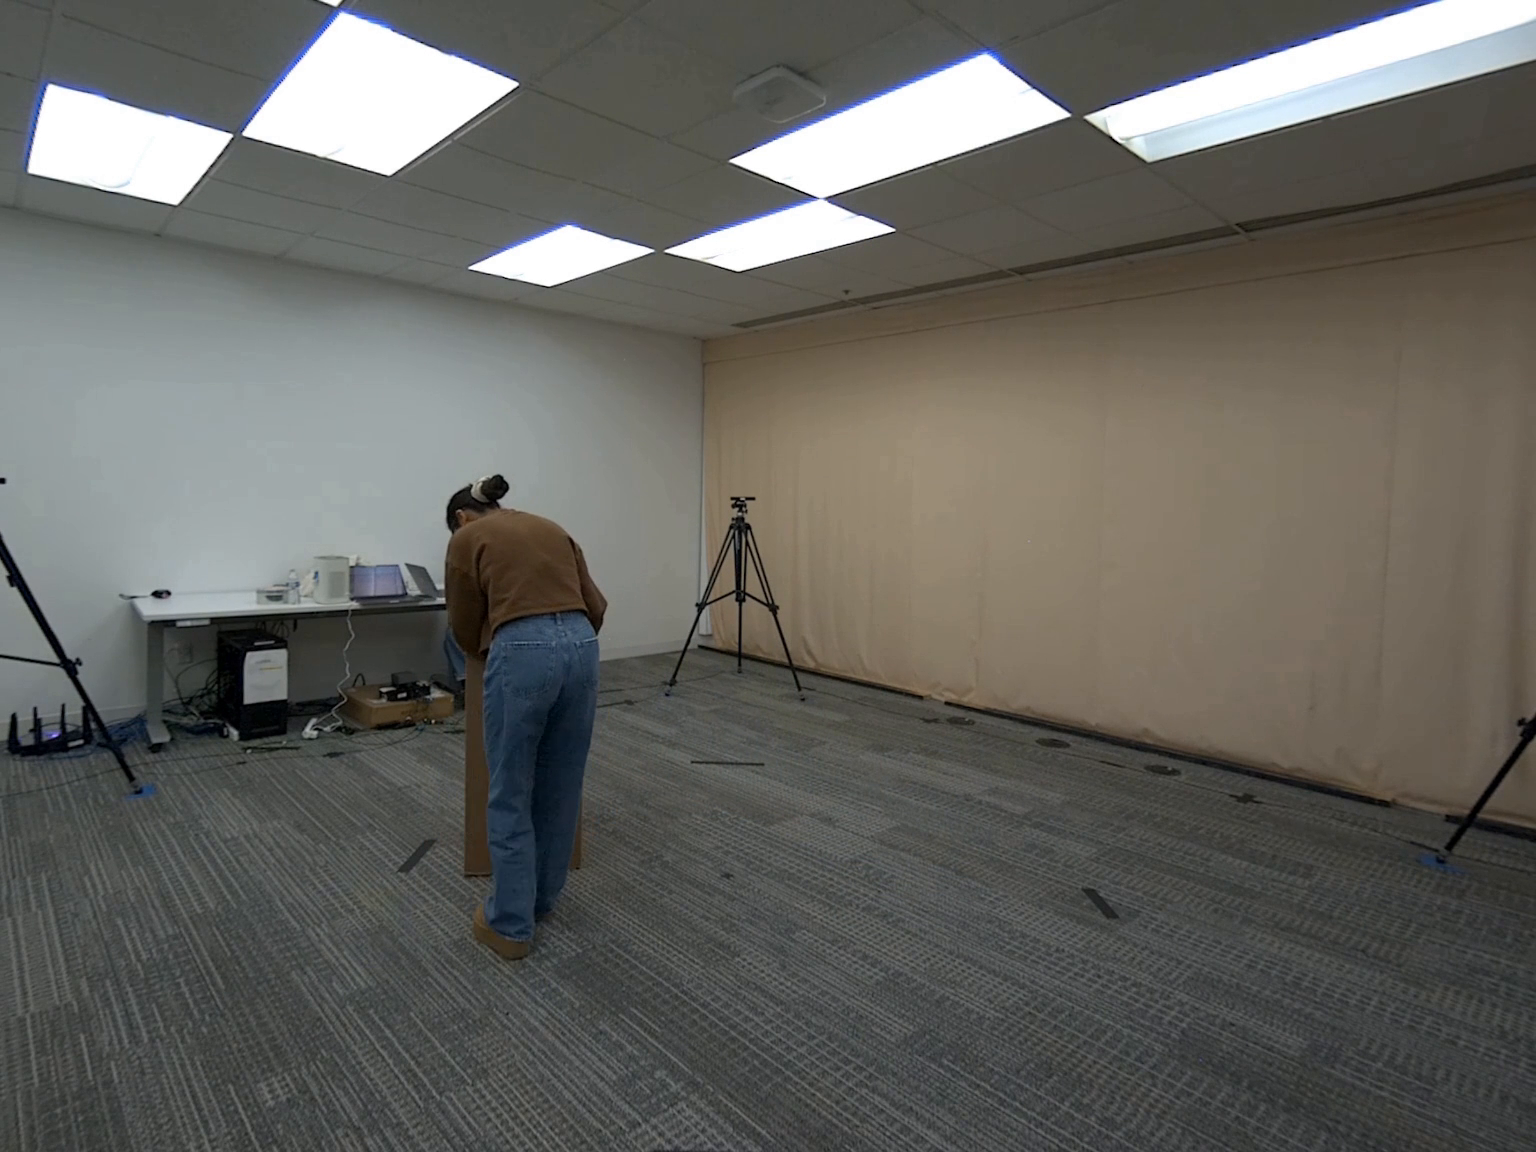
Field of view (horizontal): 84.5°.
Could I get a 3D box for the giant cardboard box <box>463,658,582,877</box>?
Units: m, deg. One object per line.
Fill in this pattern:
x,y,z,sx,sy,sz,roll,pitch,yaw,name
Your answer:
-0.961,0.557,3.342,0.421,1.023,0.585,1,3,-15,giant cardboard box
